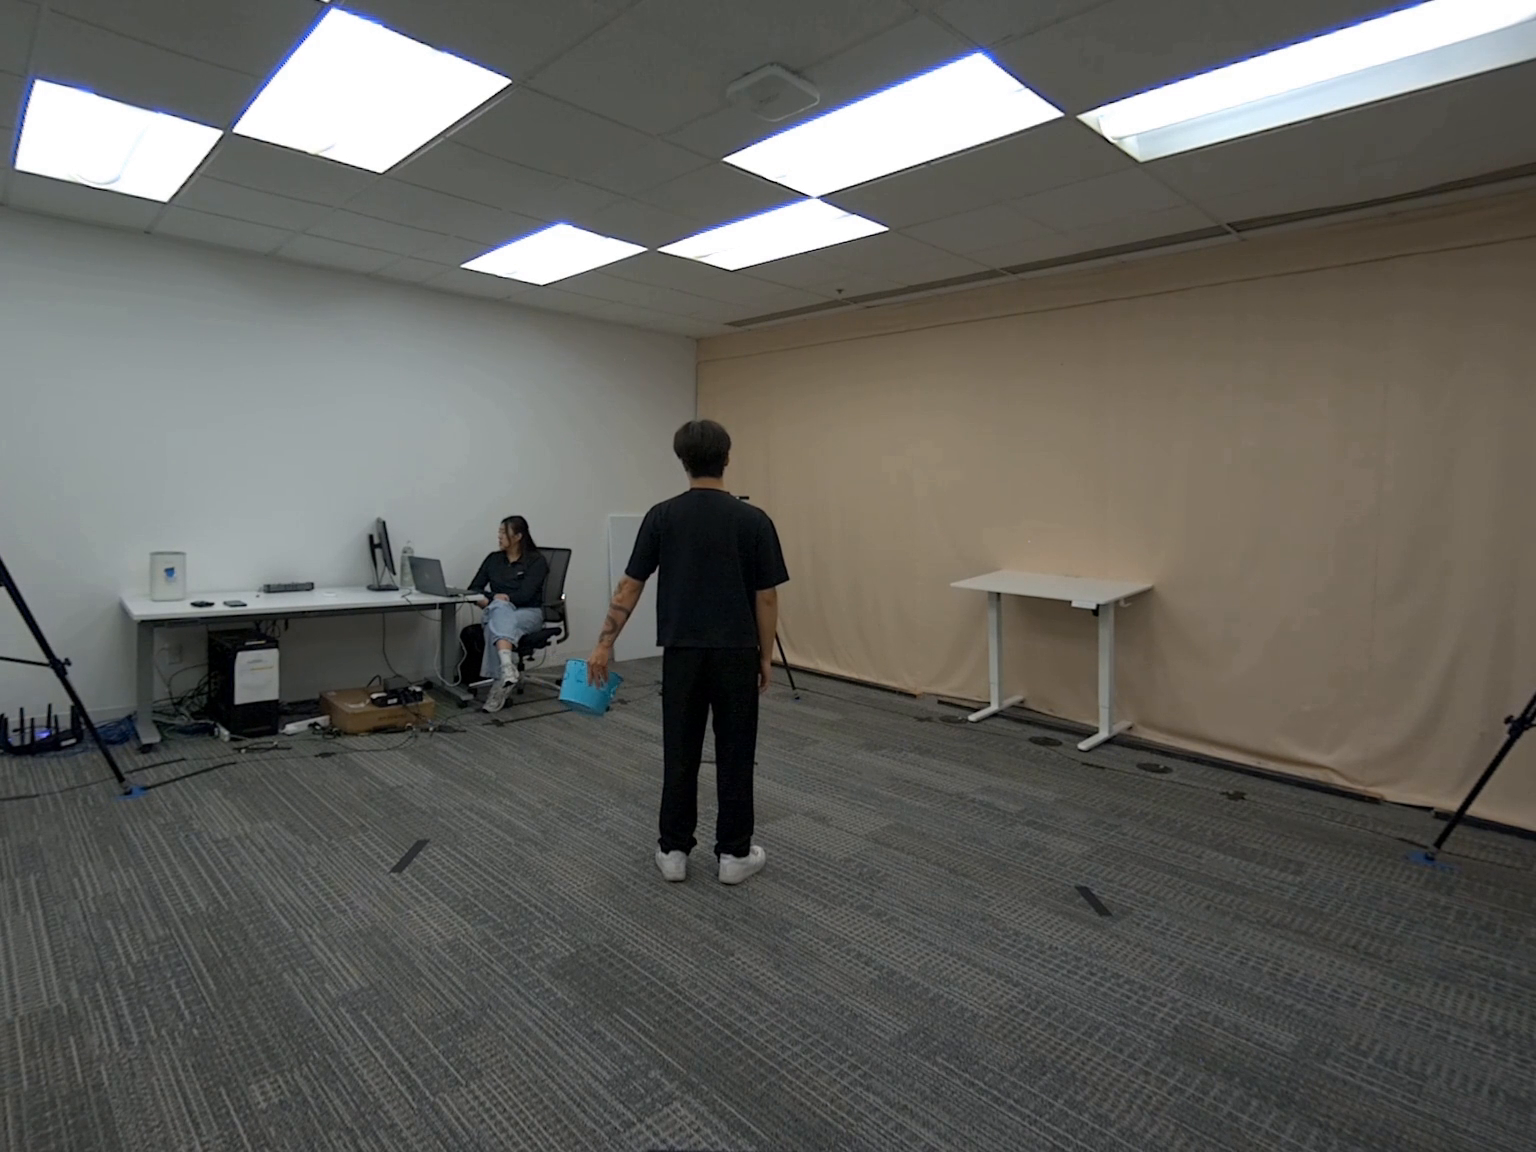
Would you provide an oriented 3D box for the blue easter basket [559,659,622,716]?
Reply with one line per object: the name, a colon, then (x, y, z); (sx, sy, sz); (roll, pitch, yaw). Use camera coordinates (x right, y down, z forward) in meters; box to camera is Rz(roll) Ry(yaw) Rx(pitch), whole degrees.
blue easter basket: (-0.666, 0.425, 3.200); (0.245, 0.157, 0.240); (16, -21, 5)
